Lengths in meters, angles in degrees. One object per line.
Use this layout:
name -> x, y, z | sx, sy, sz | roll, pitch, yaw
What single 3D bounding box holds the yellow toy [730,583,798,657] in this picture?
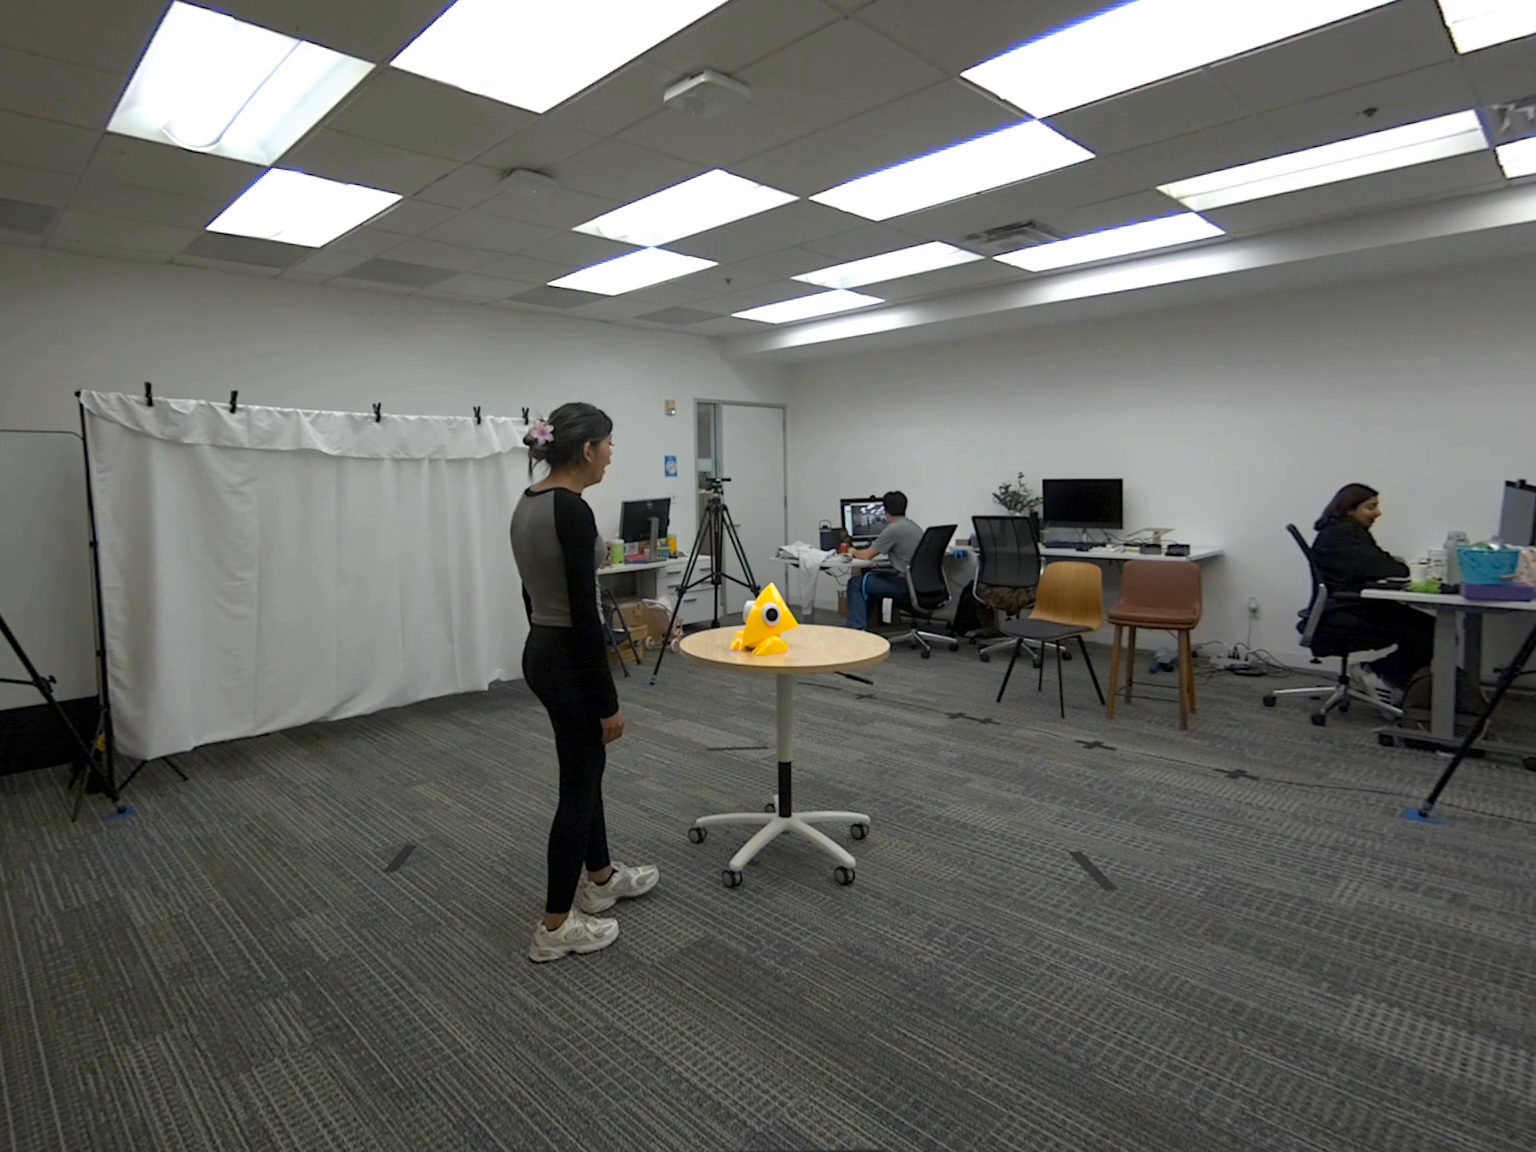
yellow toy -> -0.024, 0.144, 3.021 | 0.211, 0.230, 0.188 | 5, 7, 43
